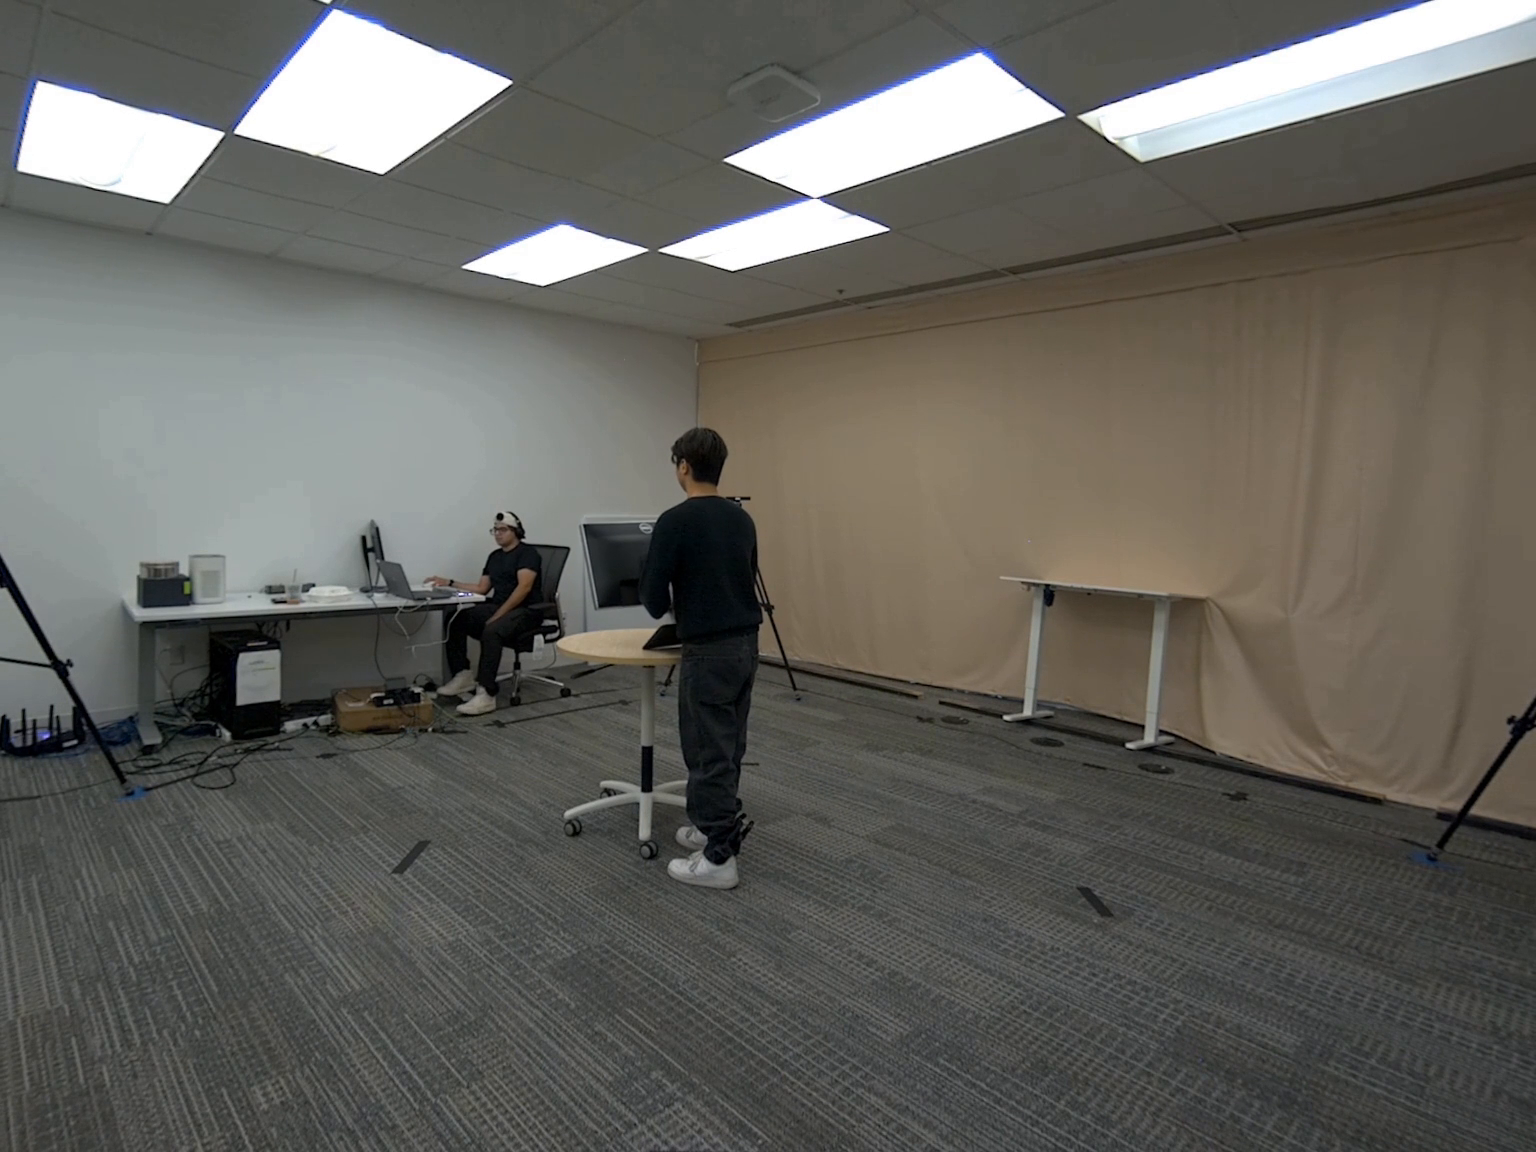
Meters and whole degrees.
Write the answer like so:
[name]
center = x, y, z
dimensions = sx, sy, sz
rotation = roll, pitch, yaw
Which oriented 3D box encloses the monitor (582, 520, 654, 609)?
[monitor]
center = -0.454, 0.008, 3.470
dimensions = 0.527, 0.533, 0.187
rotation = -2, -29, -37
